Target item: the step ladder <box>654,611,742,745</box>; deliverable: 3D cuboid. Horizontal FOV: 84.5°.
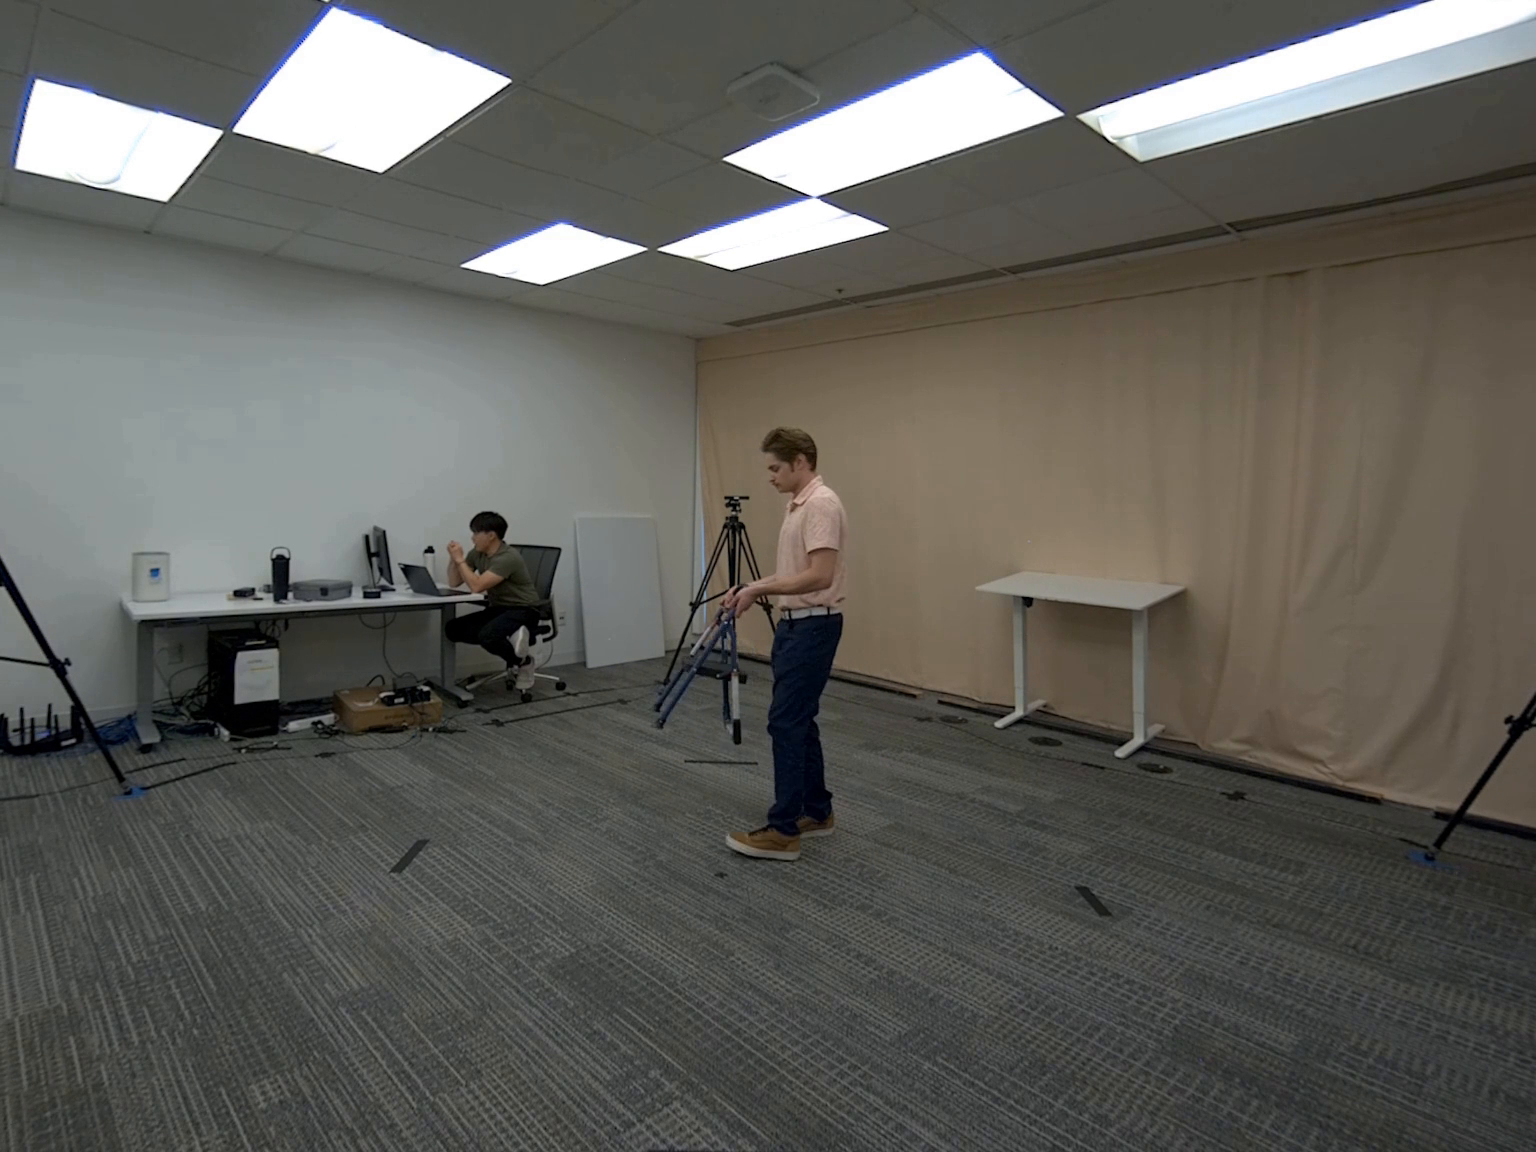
[{"bbox_3d":[-0.223,0.316,3.399,0.346,0.607,0.433,14,-3,-9],"label":"step ladder"}]
